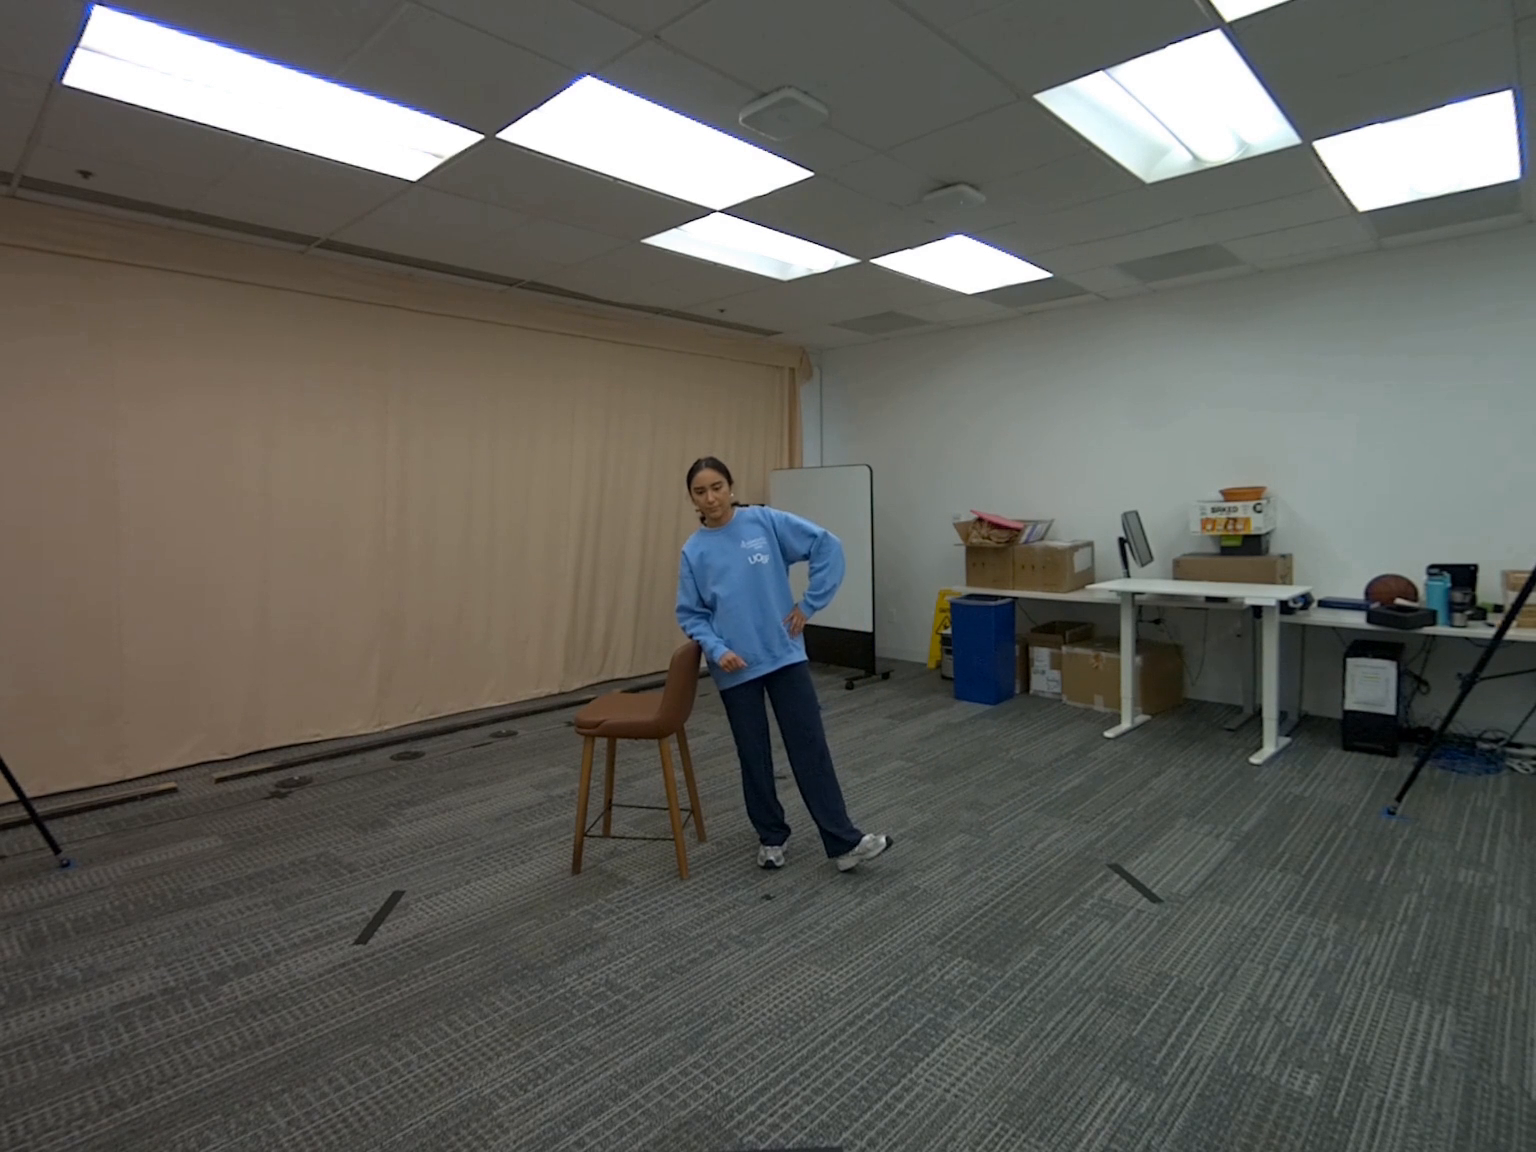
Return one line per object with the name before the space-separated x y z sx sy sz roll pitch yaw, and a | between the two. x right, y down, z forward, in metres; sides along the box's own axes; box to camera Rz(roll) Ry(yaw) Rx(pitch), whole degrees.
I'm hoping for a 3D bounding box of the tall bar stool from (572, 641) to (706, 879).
tall bar stool | -0.502 0.686 3.340 0.473 0.888 0.452 2 4 9
